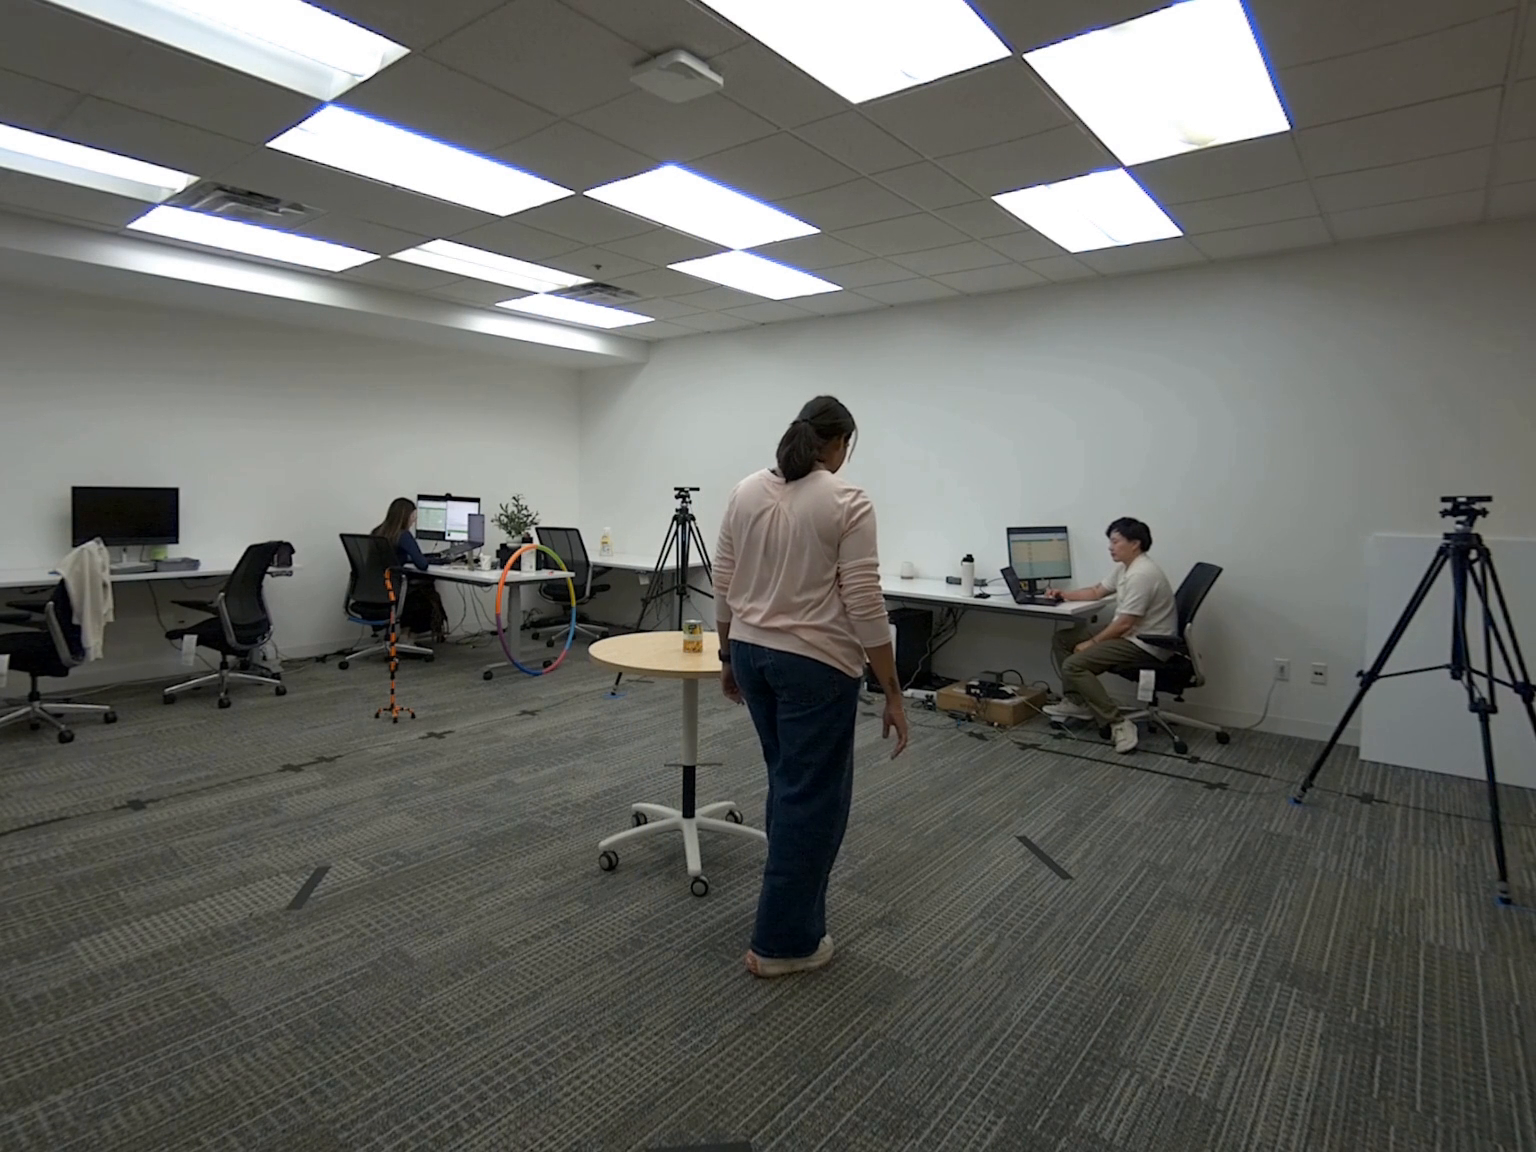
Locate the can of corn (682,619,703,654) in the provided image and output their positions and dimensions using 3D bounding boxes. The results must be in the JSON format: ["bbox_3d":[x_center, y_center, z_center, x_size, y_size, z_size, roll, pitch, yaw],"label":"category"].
[{"bbox_3d":[-0.291,0.219,3.159,0.074,0.111,0.074,2,3,-2],"label":"can of corn"}]
